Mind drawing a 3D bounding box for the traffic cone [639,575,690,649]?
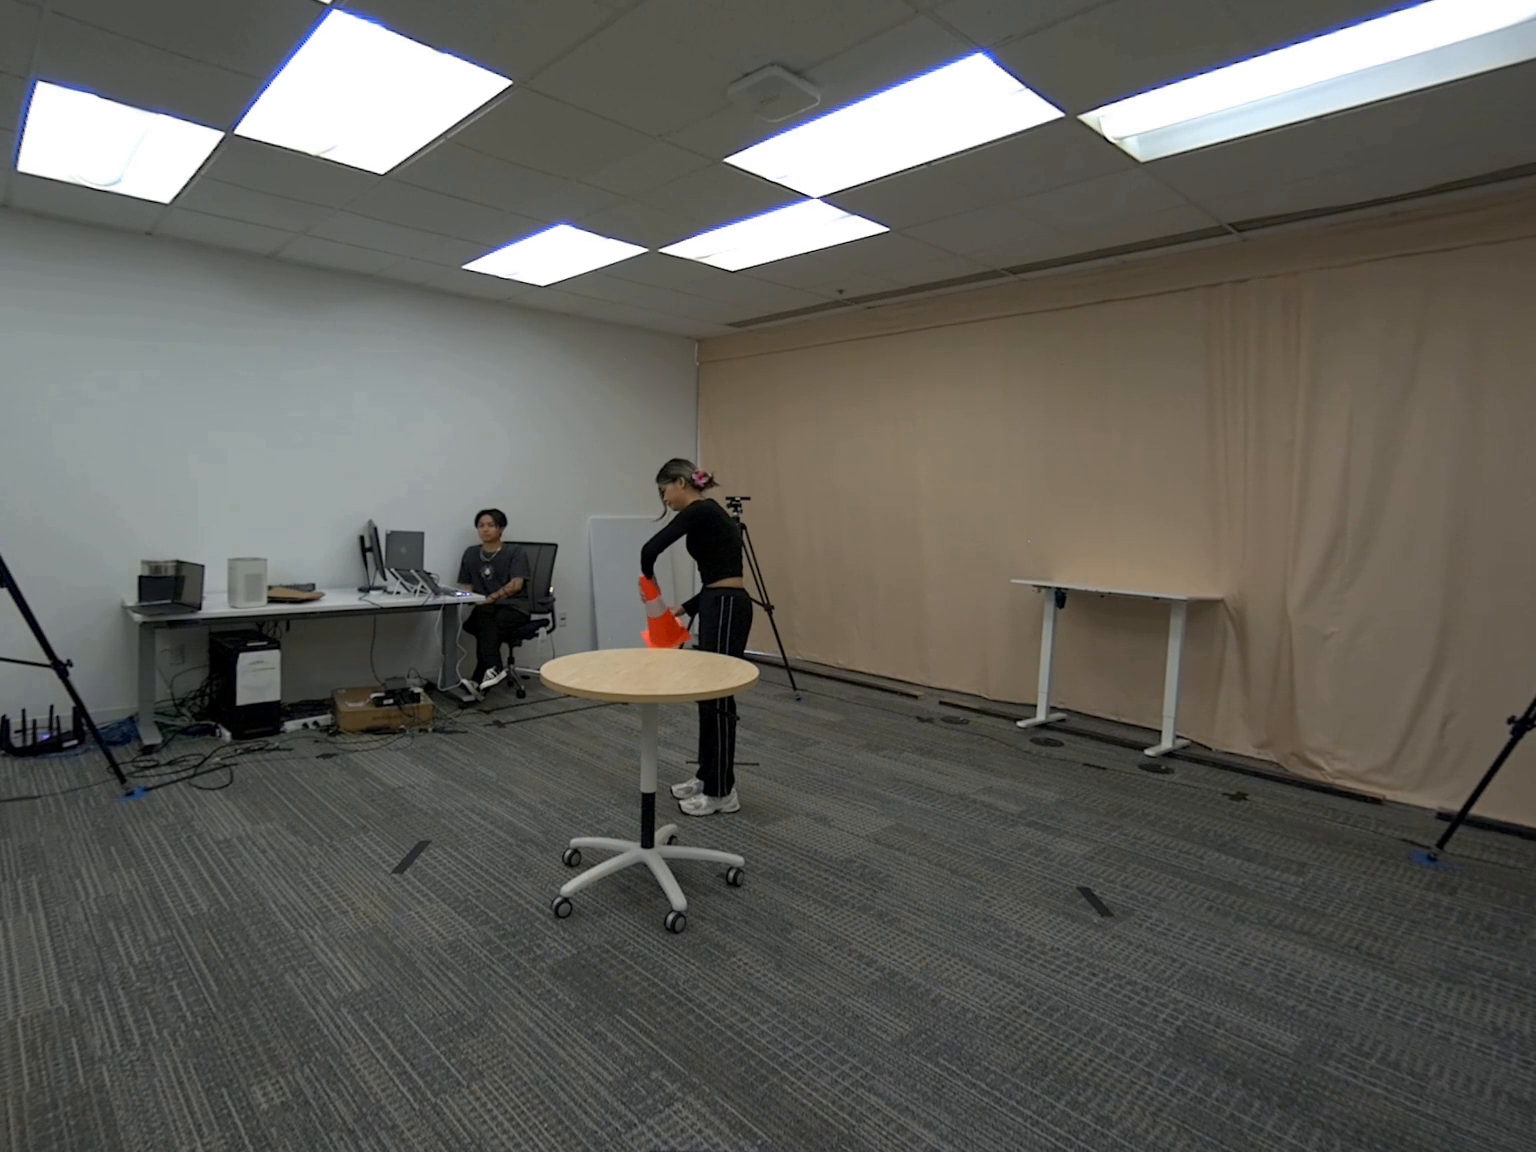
[{"bbox_3d":[-0.528,0.139,3.904,0.202,0.374,0.211,-31,38,-25],"label":"traffic cone"}]
